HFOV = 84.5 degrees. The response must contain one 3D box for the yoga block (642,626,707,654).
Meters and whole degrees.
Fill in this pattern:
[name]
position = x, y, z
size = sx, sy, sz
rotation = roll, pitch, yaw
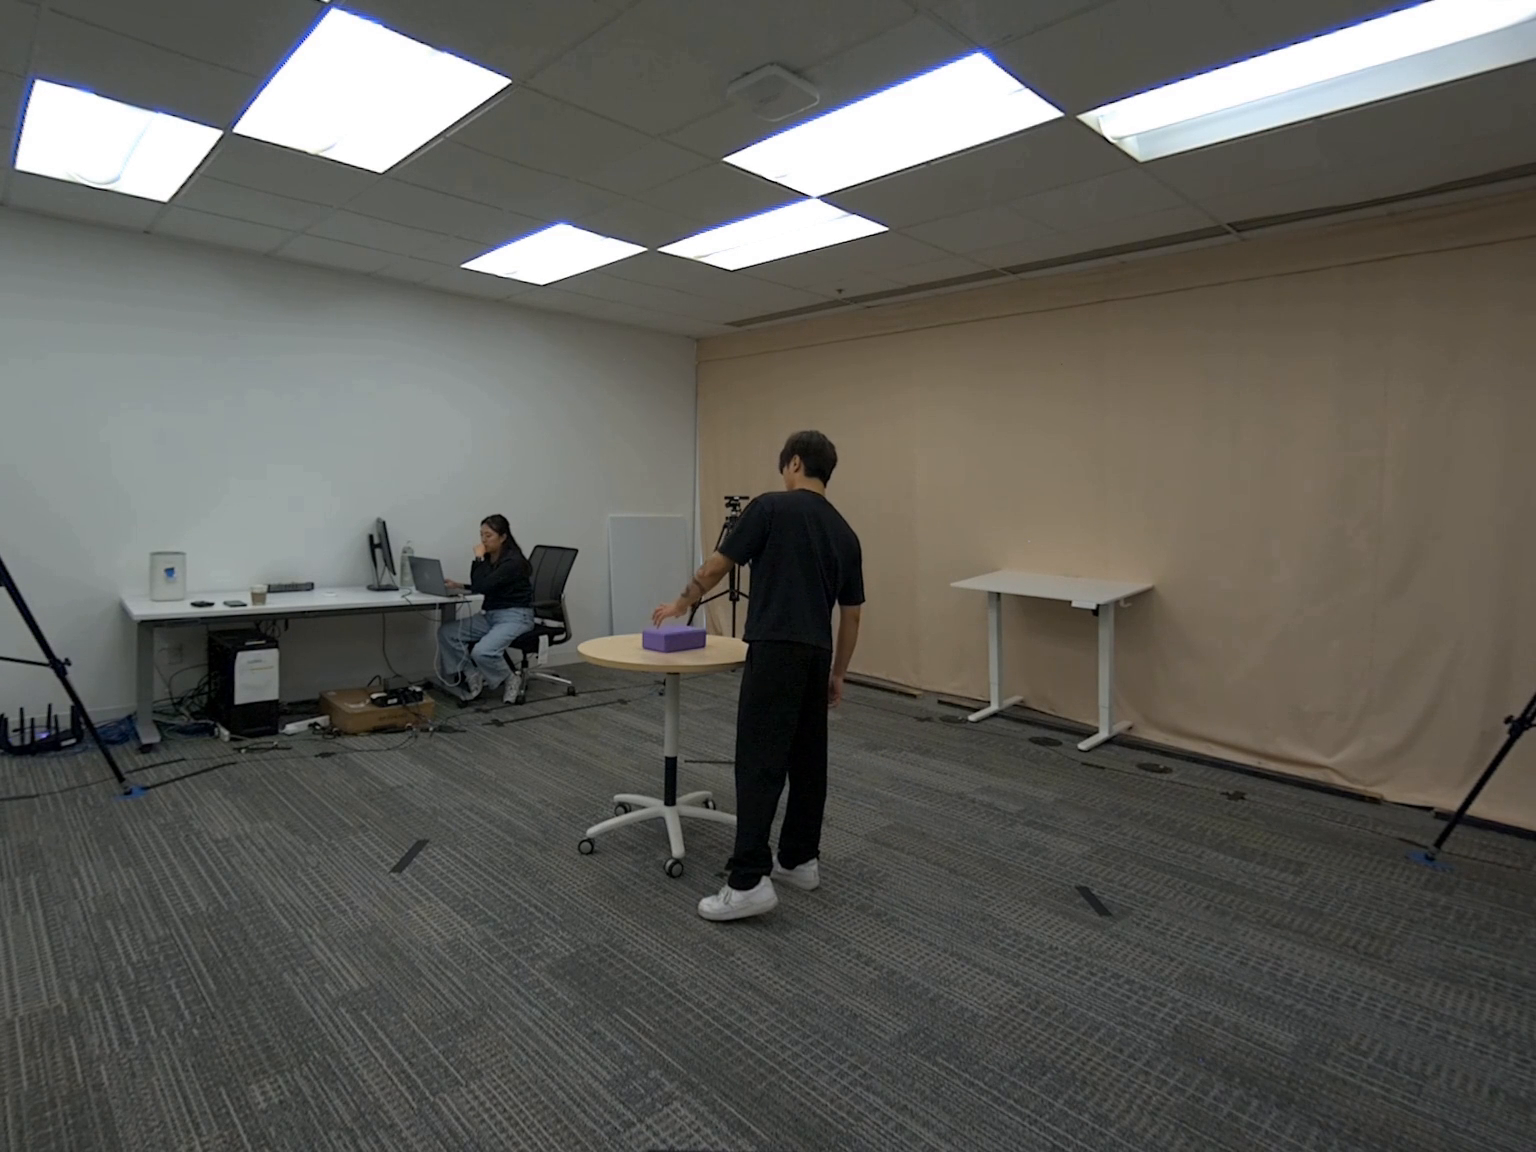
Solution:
[yoga block]
position = -0.379, 0.252, 3.379
size = 0.153, 0.076, 0.224
rotation = 4, 5, 41
